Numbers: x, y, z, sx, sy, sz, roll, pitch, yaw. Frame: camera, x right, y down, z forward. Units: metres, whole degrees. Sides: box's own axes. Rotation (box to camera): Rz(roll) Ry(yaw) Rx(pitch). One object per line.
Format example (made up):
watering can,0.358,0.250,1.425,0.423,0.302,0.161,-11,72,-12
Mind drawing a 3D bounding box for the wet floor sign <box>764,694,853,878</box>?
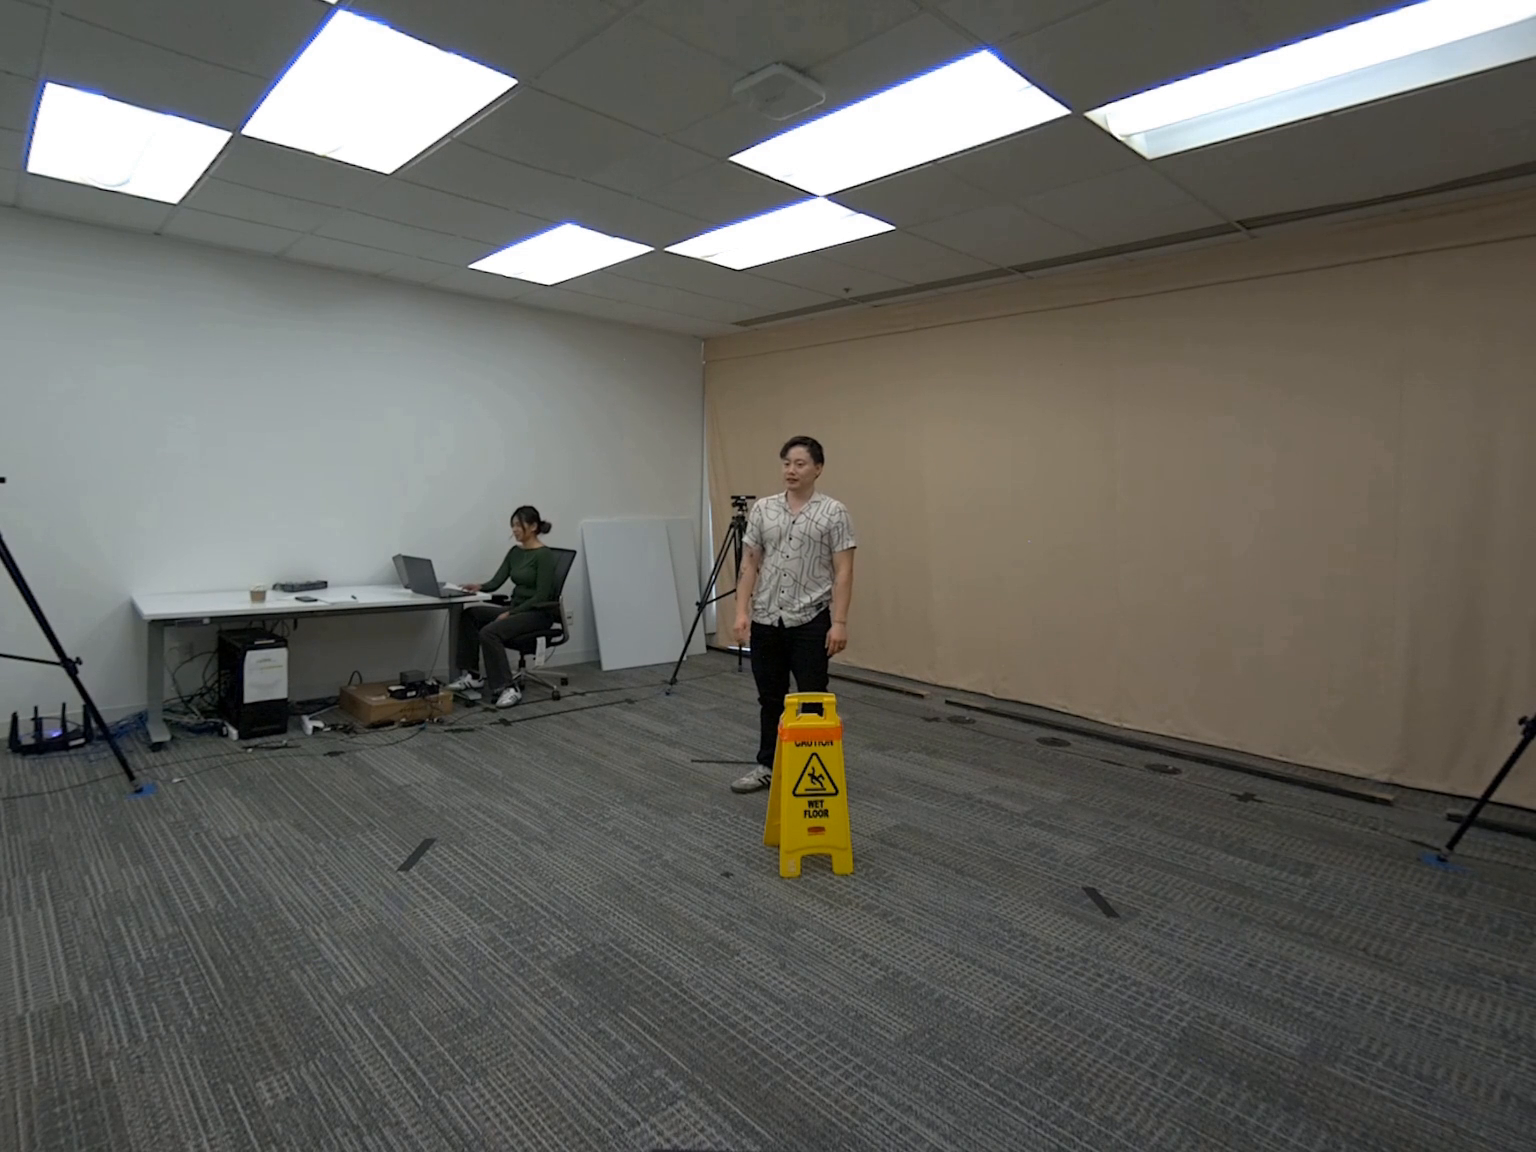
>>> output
wet floor sign,0.143,0.769,3.241,0.280,0.644,0.293,1,3,-11
